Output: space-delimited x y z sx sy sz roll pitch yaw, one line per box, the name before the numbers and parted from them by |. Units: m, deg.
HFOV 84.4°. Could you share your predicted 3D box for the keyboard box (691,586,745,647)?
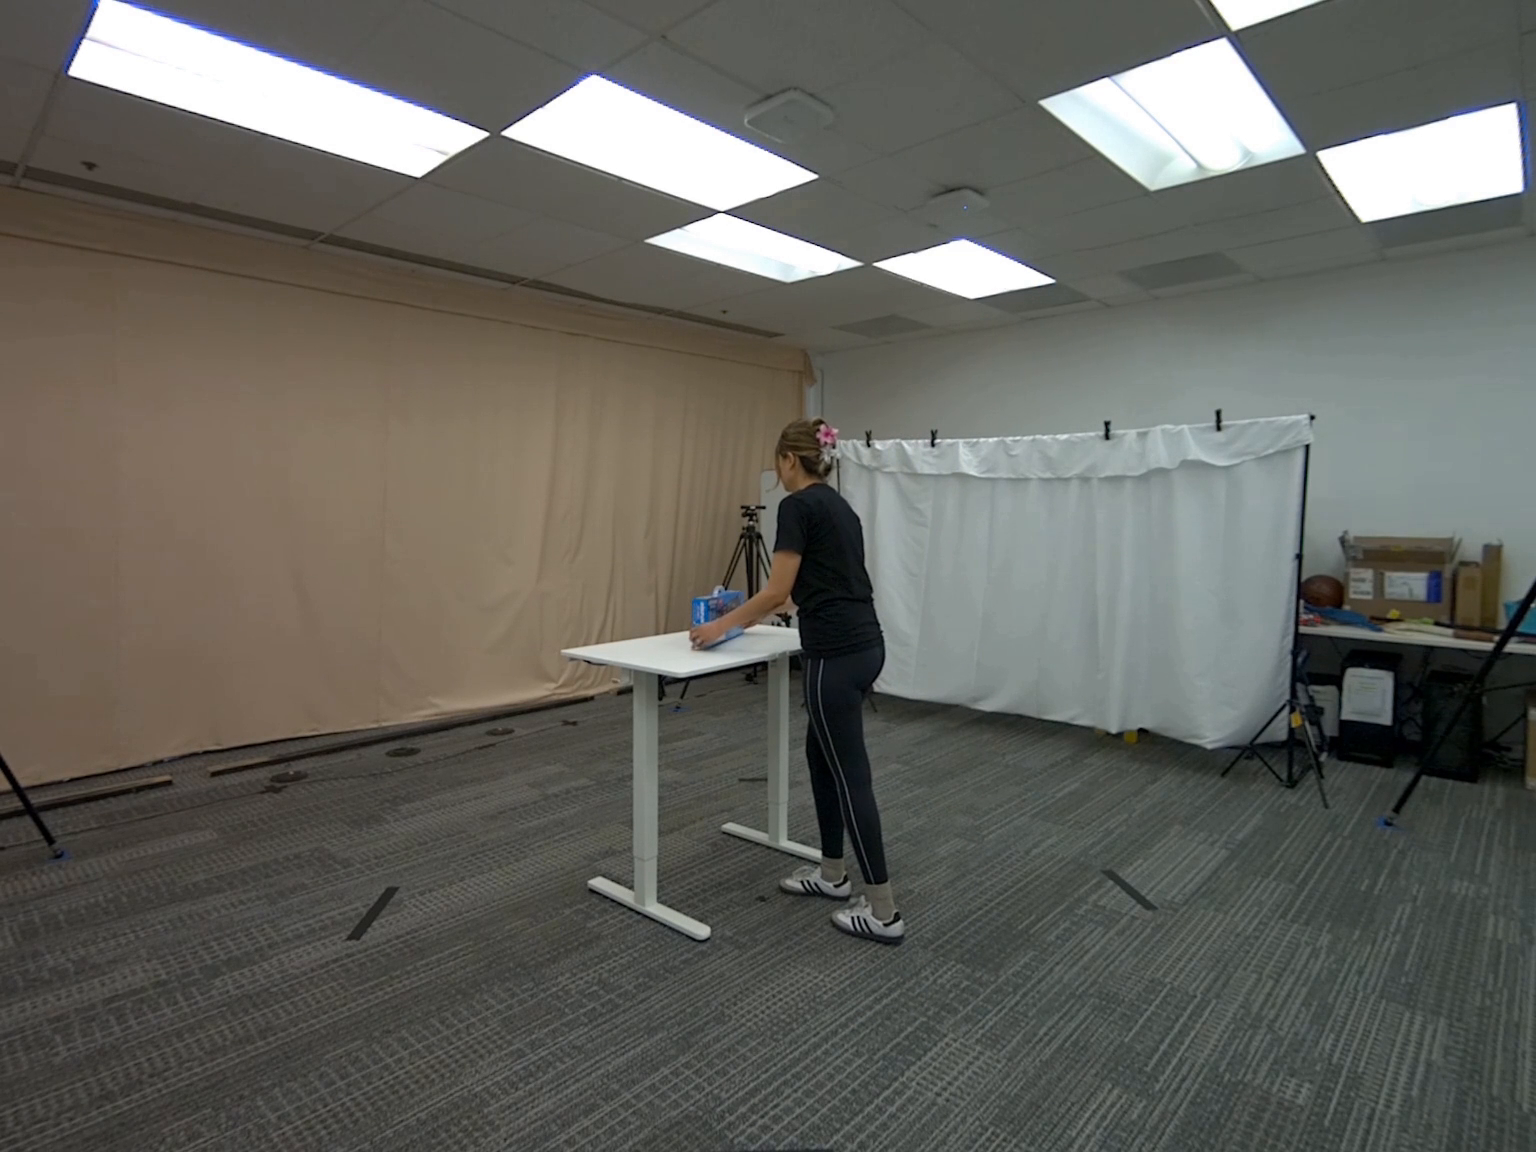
keyboard box | -0.173 0.155 3.169 0.060 0.176 0.429 1 3 15
